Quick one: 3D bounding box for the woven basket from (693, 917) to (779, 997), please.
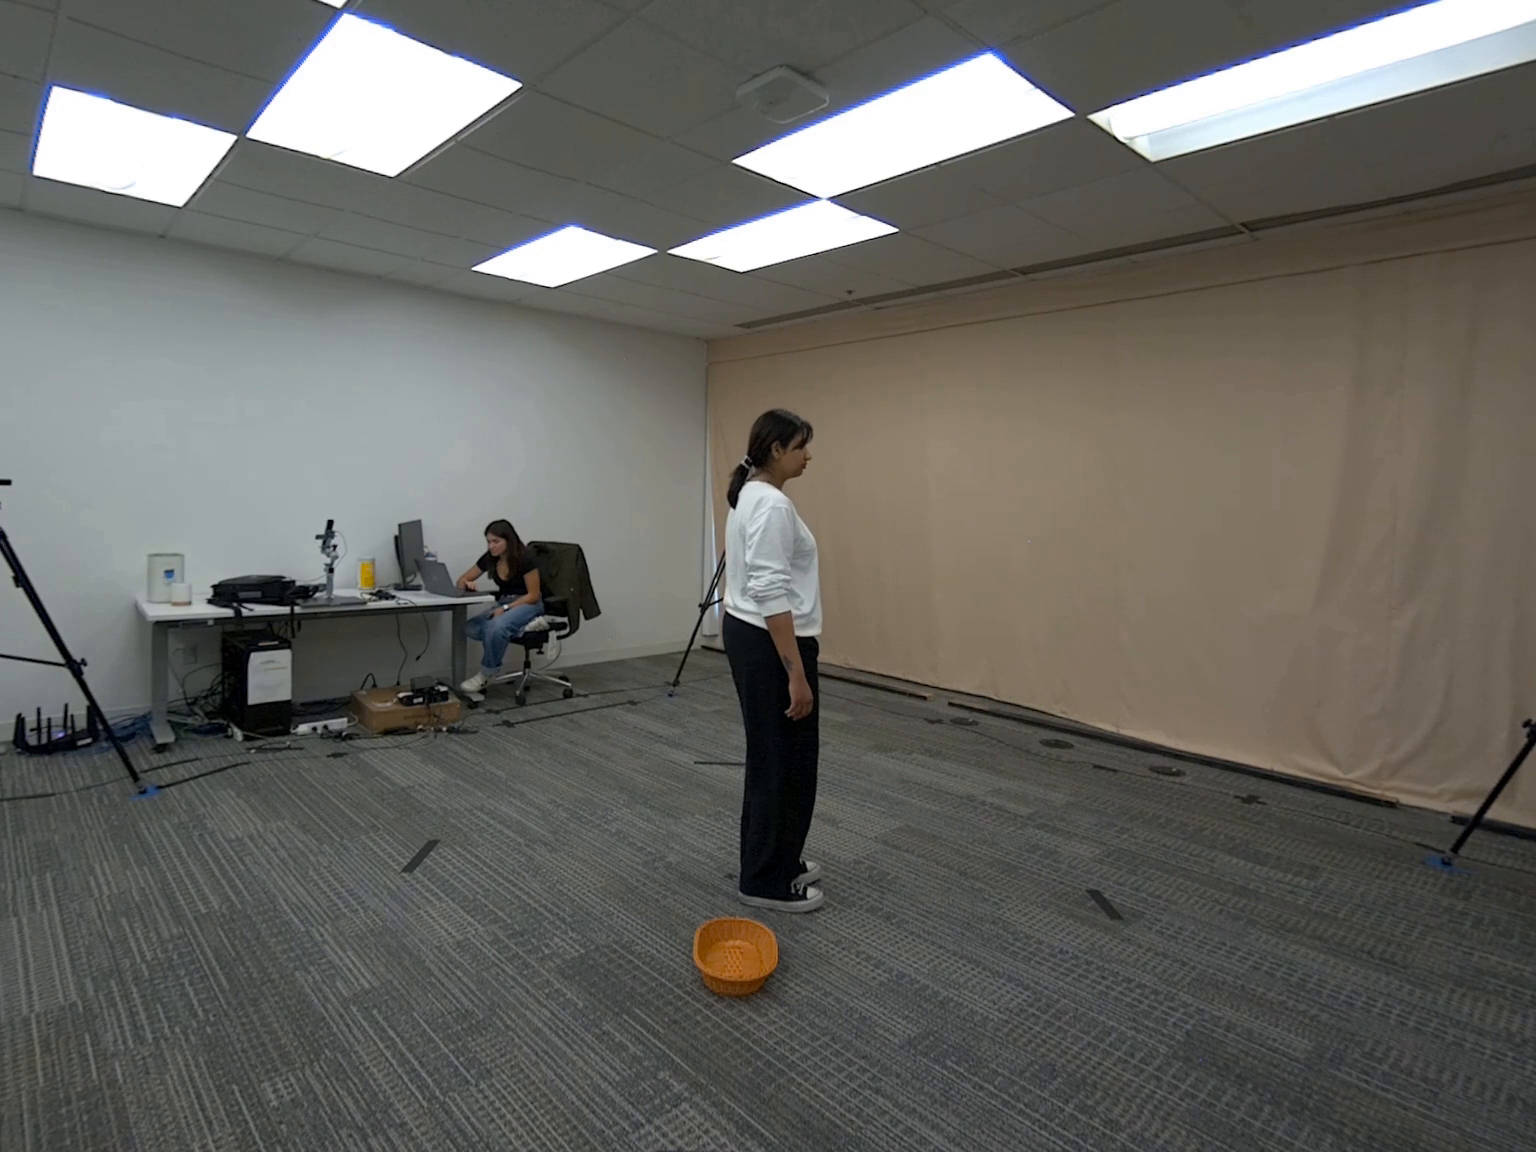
[{"bbox_3d":[-0.105,1.127,2.486,0.253,0.073,0.351,3,5,1],"label":"woven basket"}]
